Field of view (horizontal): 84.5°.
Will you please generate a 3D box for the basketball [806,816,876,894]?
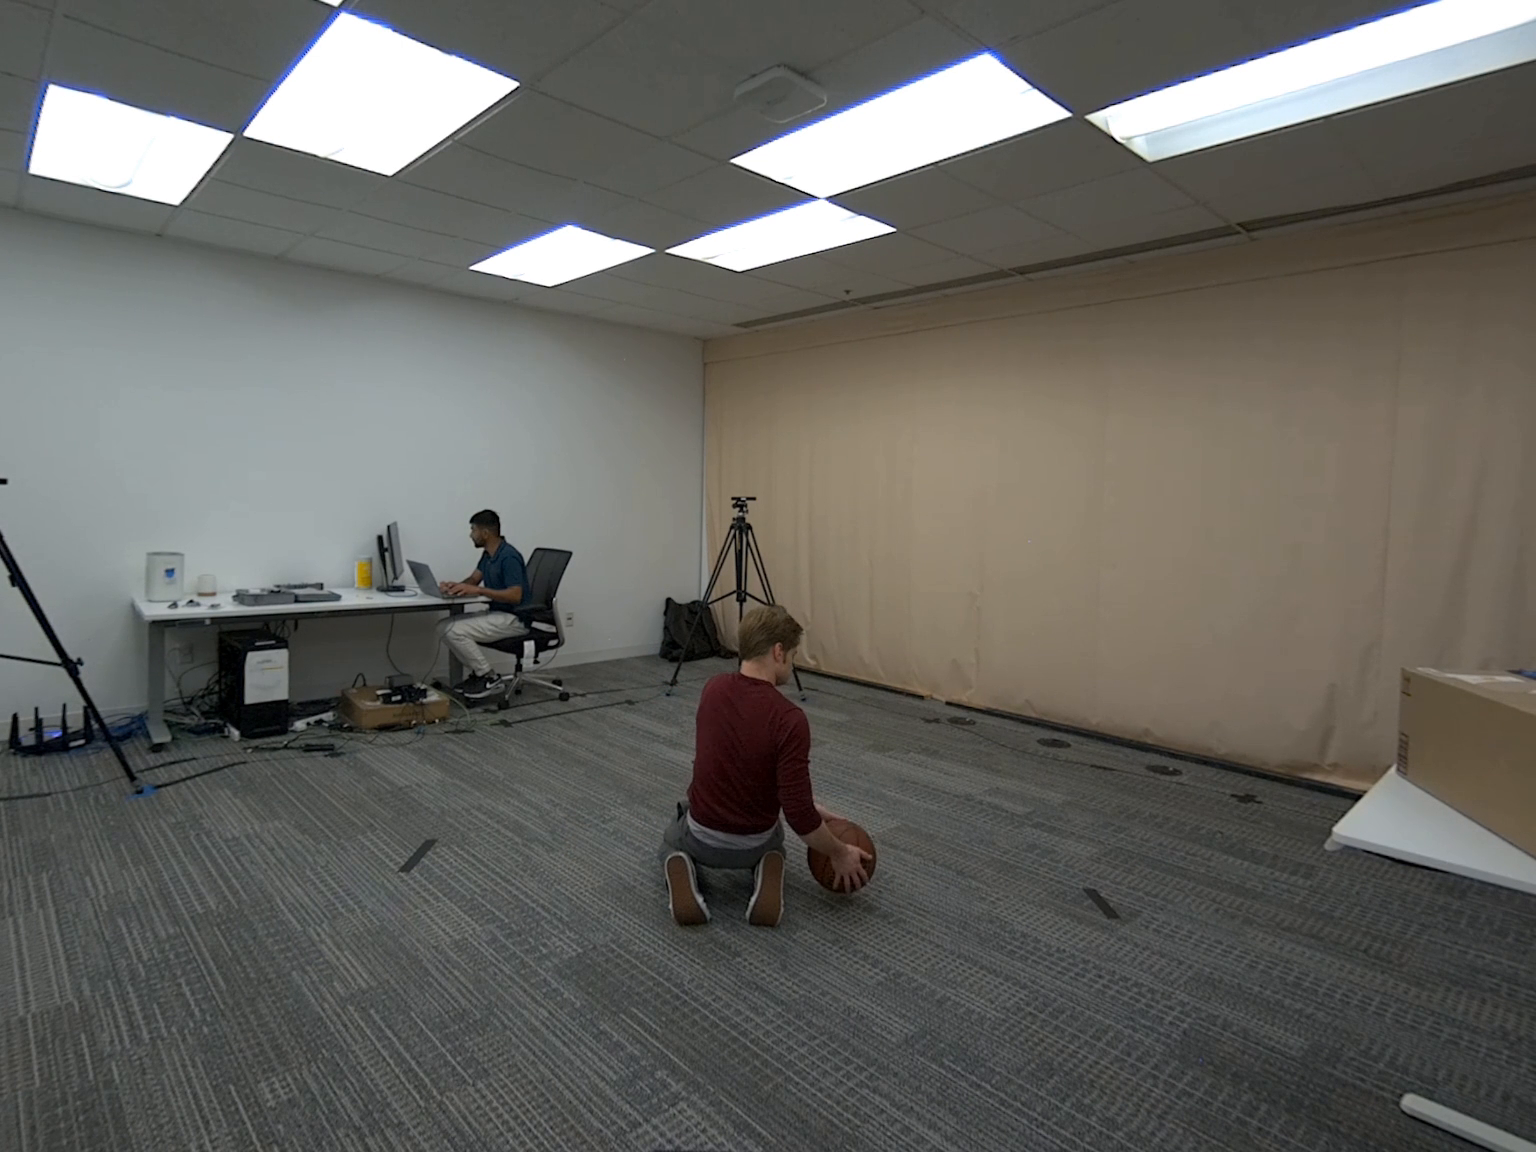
[{"bbox_3d":[0.251,0.962,2.926,0.236,0.235,0.237,1,4,-1],"label":"basketball"}]
